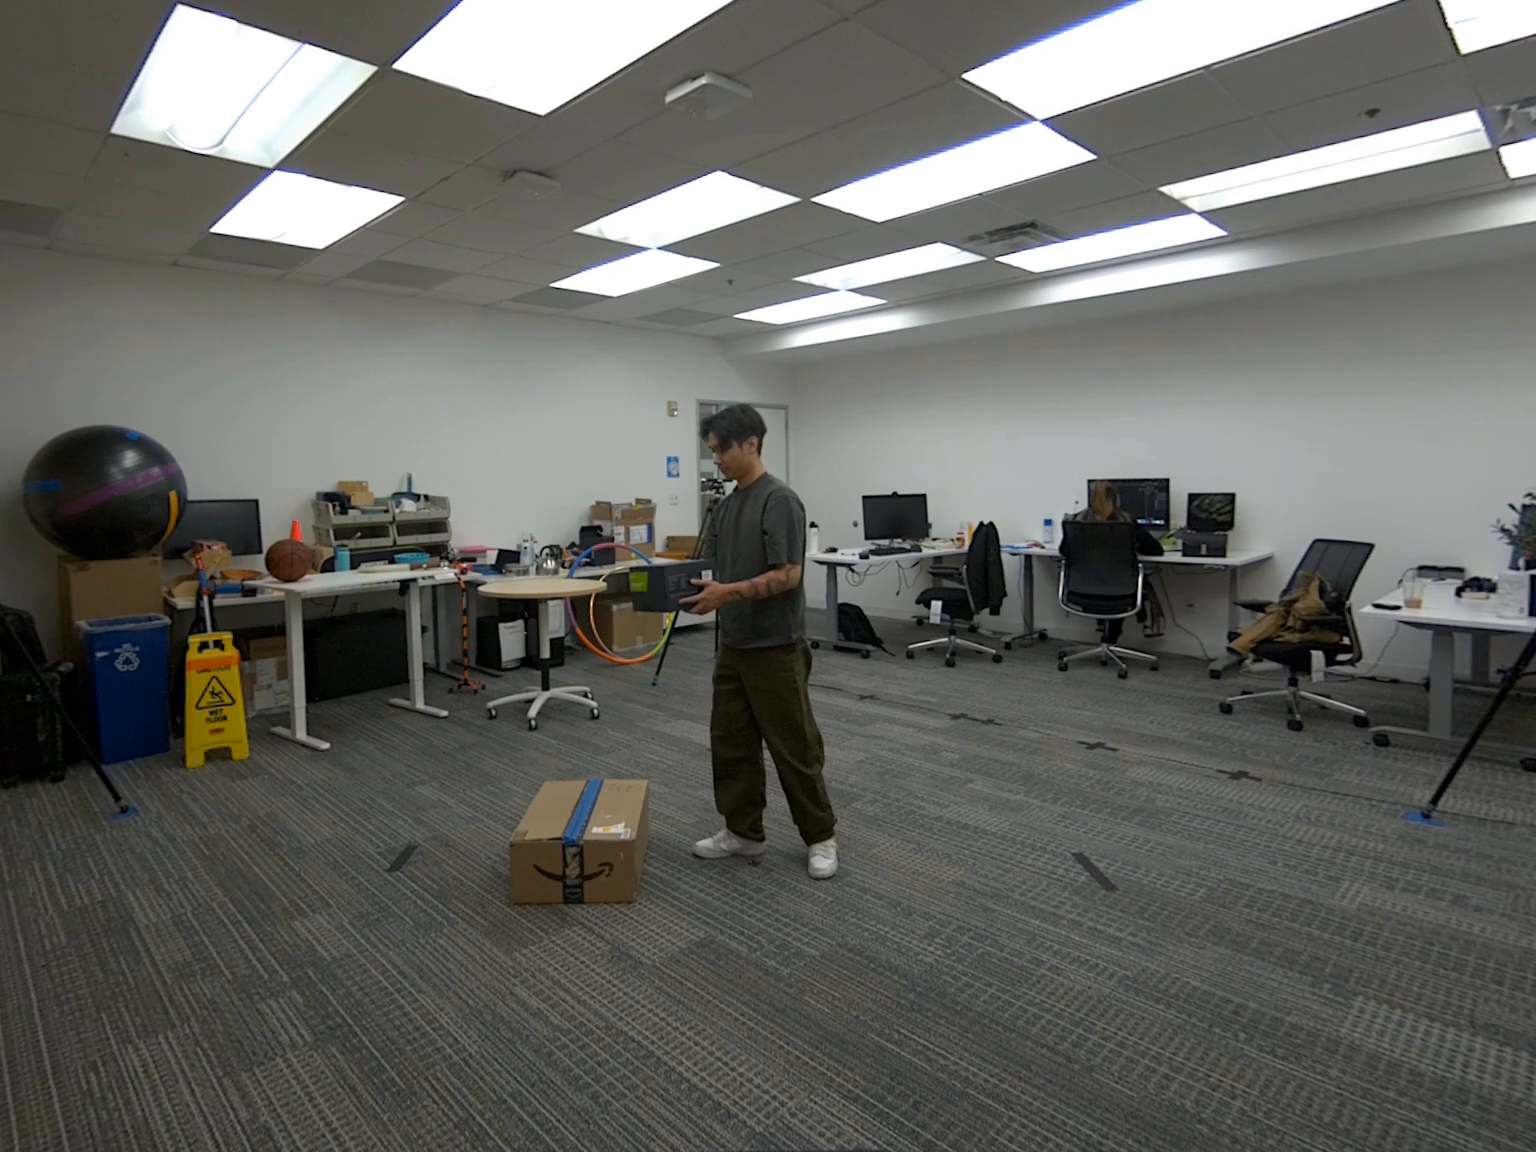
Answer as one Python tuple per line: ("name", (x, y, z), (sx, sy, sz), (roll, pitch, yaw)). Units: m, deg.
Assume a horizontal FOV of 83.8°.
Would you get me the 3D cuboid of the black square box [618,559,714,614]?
("black square box", (-0.324, 0.033, 2.926), (0.212, 0.155, 0.234), (-8, 4, -38))
